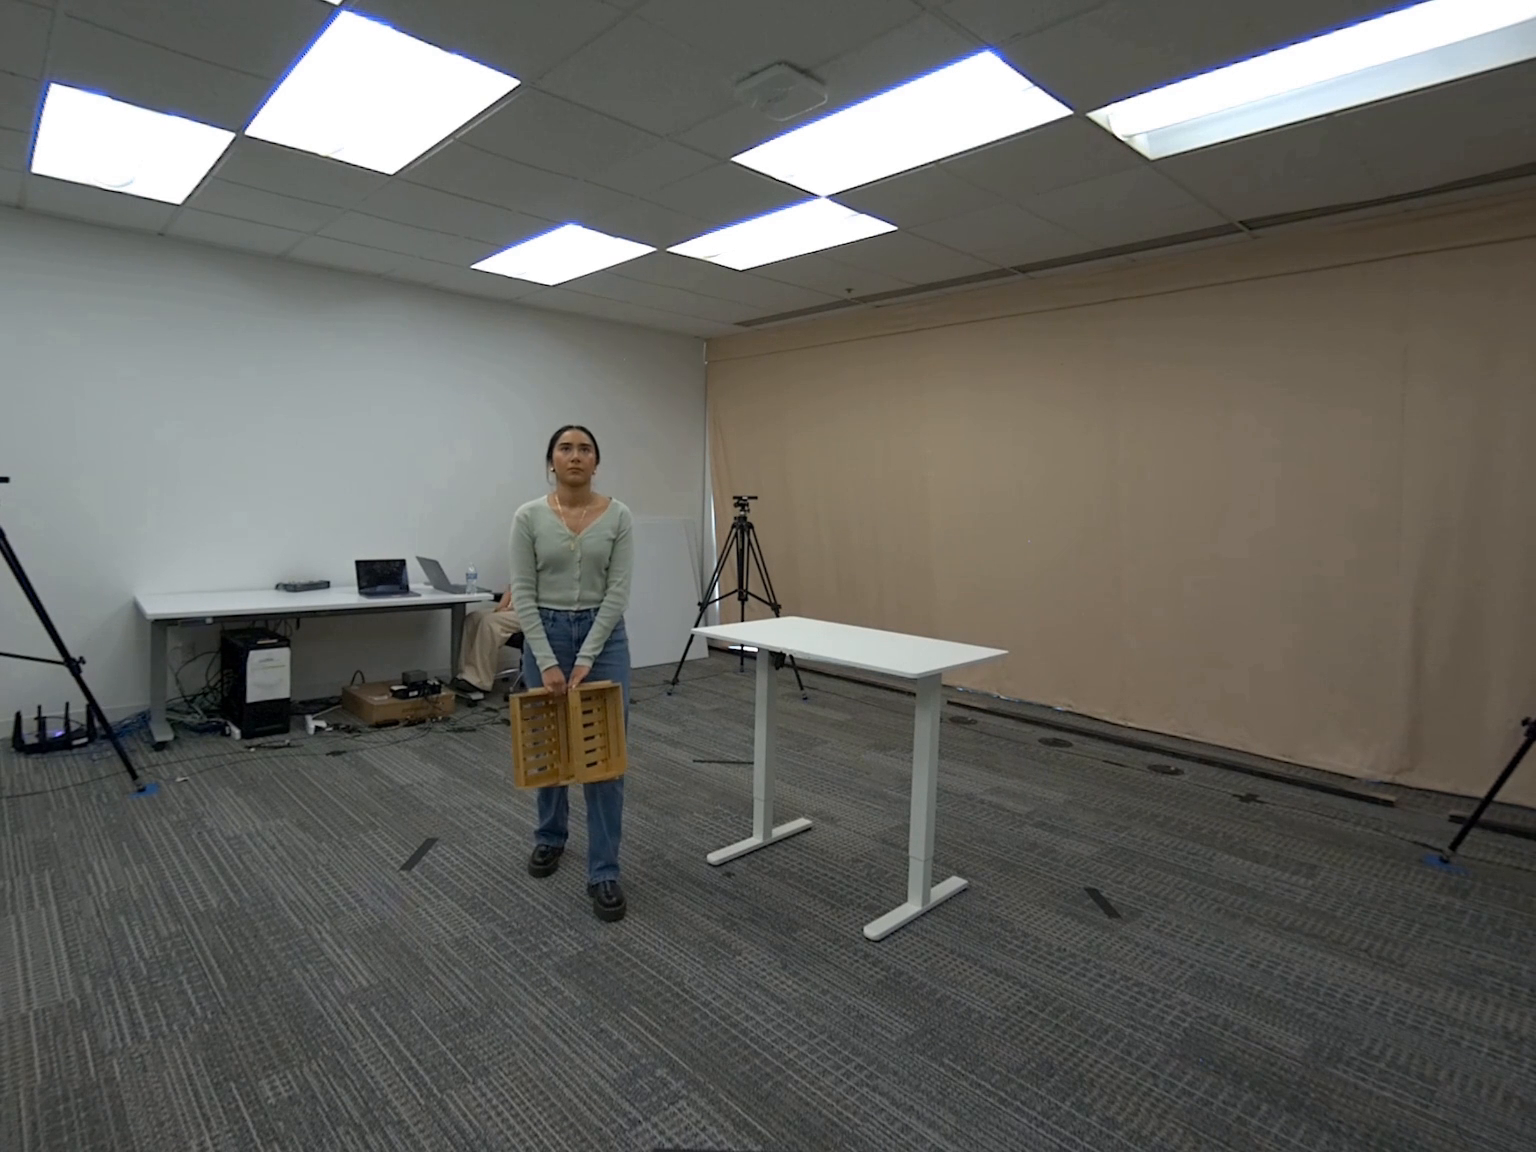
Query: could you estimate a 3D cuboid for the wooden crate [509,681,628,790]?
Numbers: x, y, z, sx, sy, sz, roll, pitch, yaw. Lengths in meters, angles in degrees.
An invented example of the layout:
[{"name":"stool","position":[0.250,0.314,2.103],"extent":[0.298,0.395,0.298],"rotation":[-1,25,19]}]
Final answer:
[{"name":"wooden crate","position":[-0.662,0.521,2.782],"extent":[0.277,0.326,0.296],"rotation":[-9,-7,20]}]
